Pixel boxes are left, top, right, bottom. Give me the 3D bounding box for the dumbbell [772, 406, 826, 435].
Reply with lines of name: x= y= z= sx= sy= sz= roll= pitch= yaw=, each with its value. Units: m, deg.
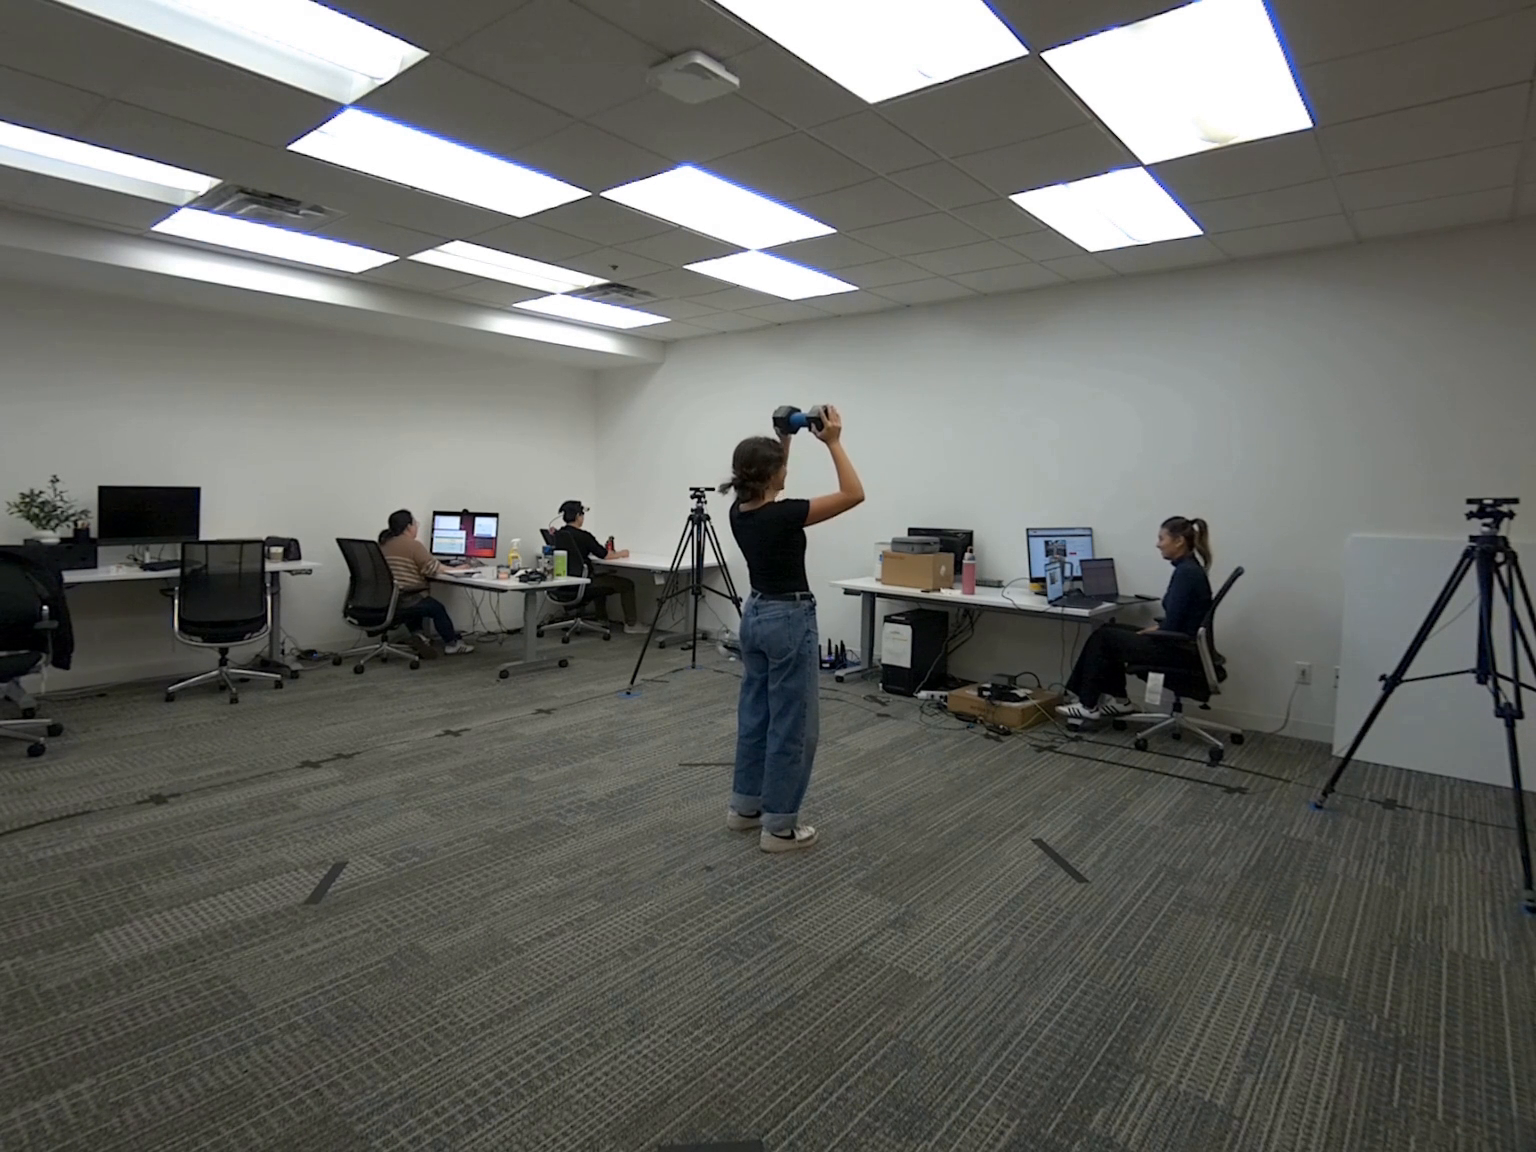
dumbbell: x=0.136 y=-0.618 z=3.375 sx=0.105 sy=0.123 sz=0.304 roll=46 pitch=-19 yaw=-31
